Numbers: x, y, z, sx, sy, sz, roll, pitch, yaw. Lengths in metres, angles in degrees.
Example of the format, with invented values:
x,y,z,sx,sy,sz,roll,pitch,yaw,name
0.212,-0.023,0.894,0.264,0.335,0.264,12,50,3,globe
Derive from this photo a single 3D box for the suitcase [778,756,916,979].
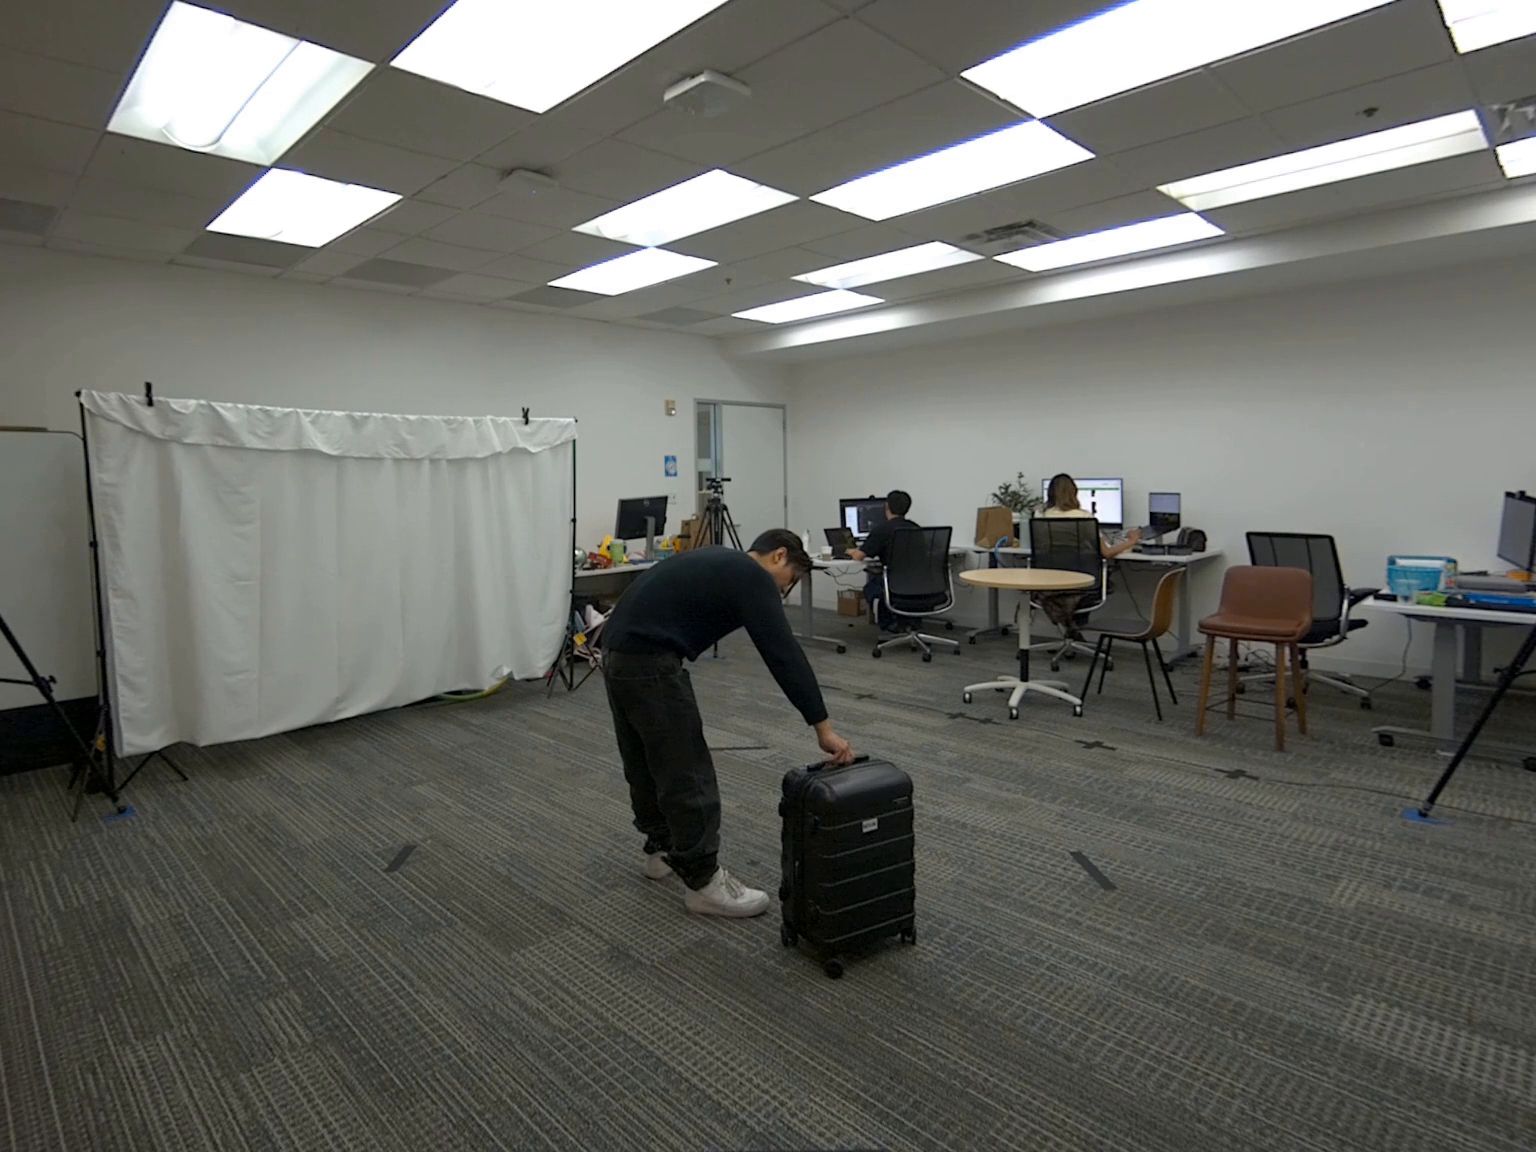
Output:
x,y,z,sx,sy,sz,roll,pitch,yaw,name
0.246,0.822,2.539,0.367,0.547,0.255,-4,5,-28,suitcase
